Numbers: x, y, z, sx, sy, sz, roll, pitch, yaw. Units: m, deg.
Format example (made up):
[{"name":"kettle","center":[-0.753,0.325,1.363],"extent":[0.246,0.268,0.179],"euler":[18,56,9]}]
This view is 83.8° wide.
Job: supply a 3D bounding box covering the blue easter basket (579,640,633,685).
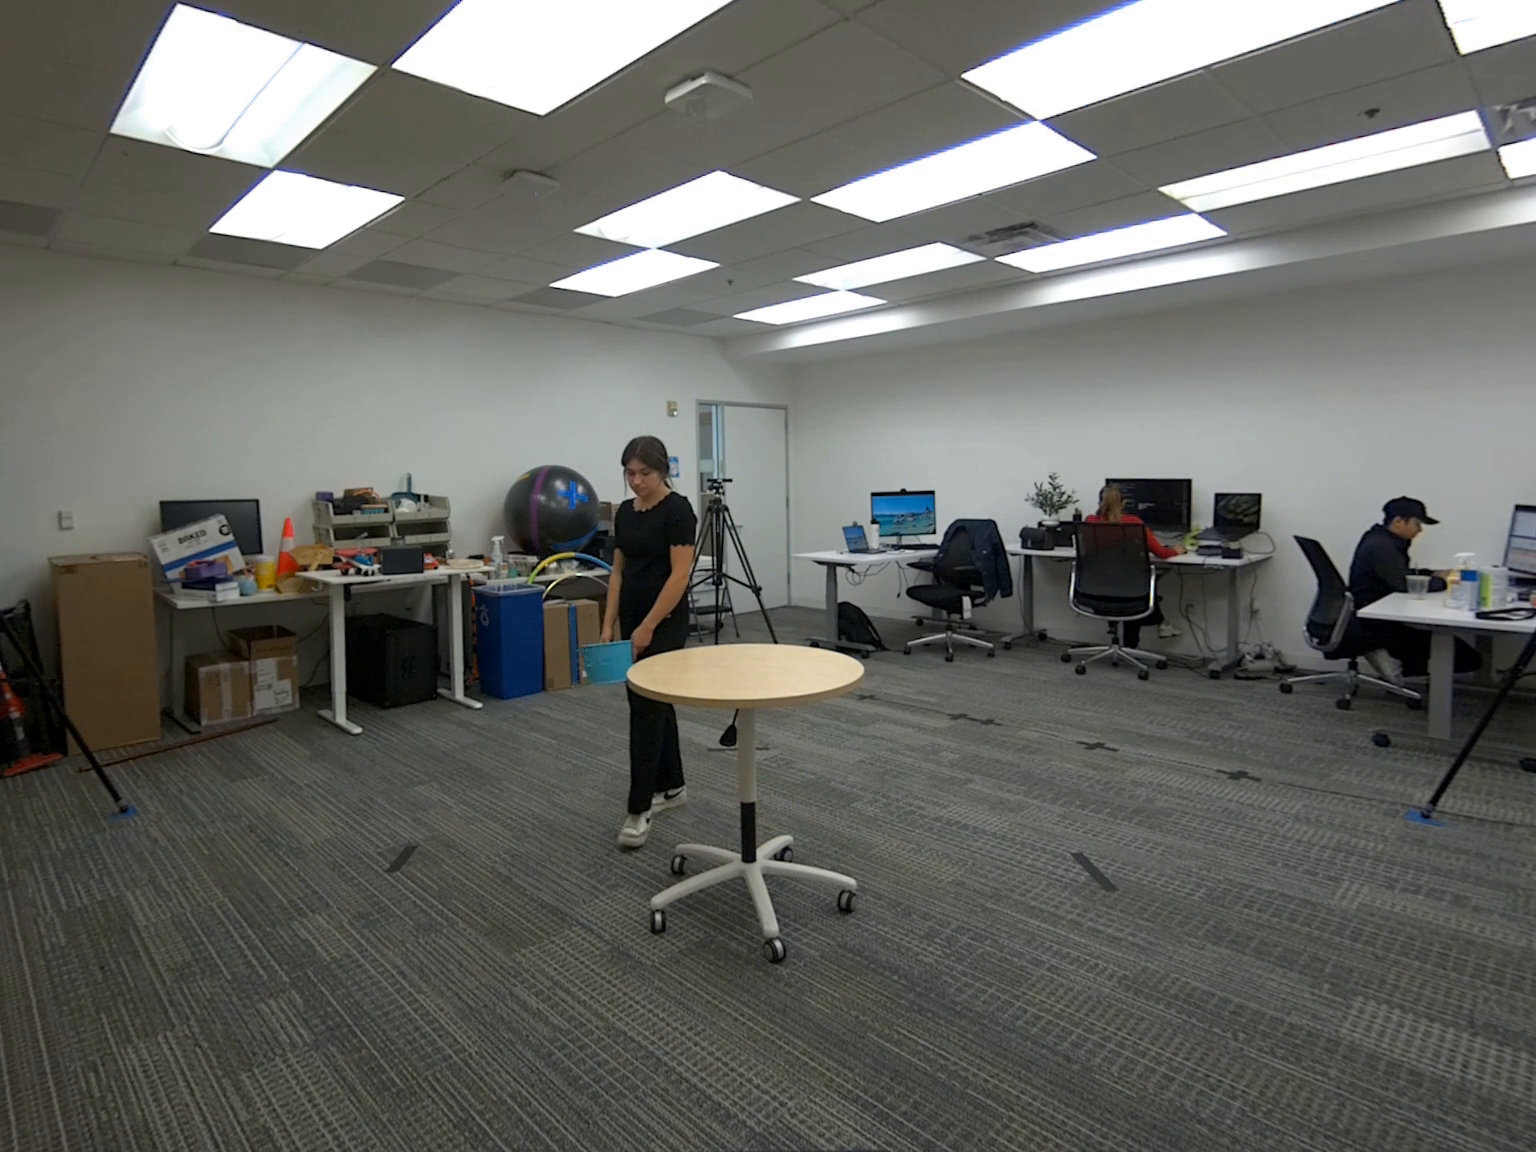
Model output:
[{"name":"blue easter basket","center":[-0.637,0.343,3.409],"extent":[0.243,0.156,0.243],"euler":[-6,-2,-2]}]
